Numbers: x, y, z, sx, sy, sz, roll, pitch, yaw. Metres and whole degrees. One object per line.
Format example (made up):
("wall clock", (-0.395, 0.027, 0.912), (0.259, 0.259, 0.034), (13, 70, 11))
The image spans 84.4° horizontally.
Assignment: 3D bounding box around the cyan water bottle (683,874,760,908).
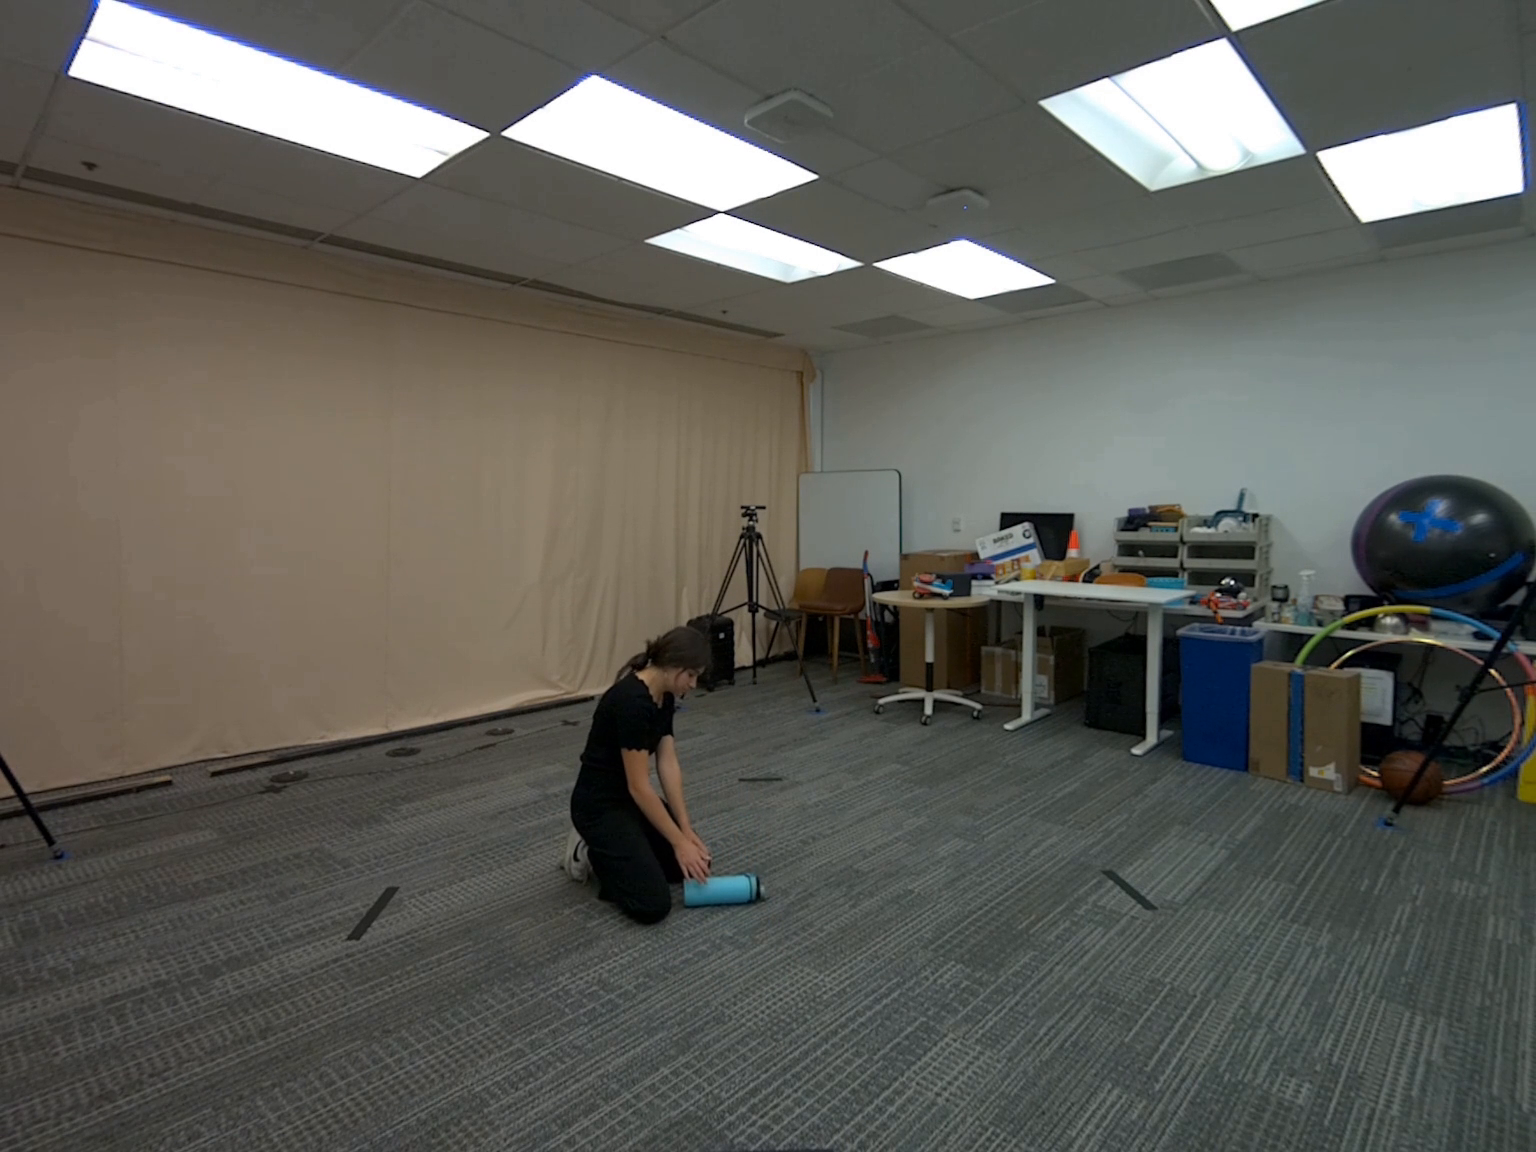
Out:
("cyan water bottle", (-0.148, 1.103, 2.946), (0.282, 0.092, 0.093), (-2, 4, -6))
